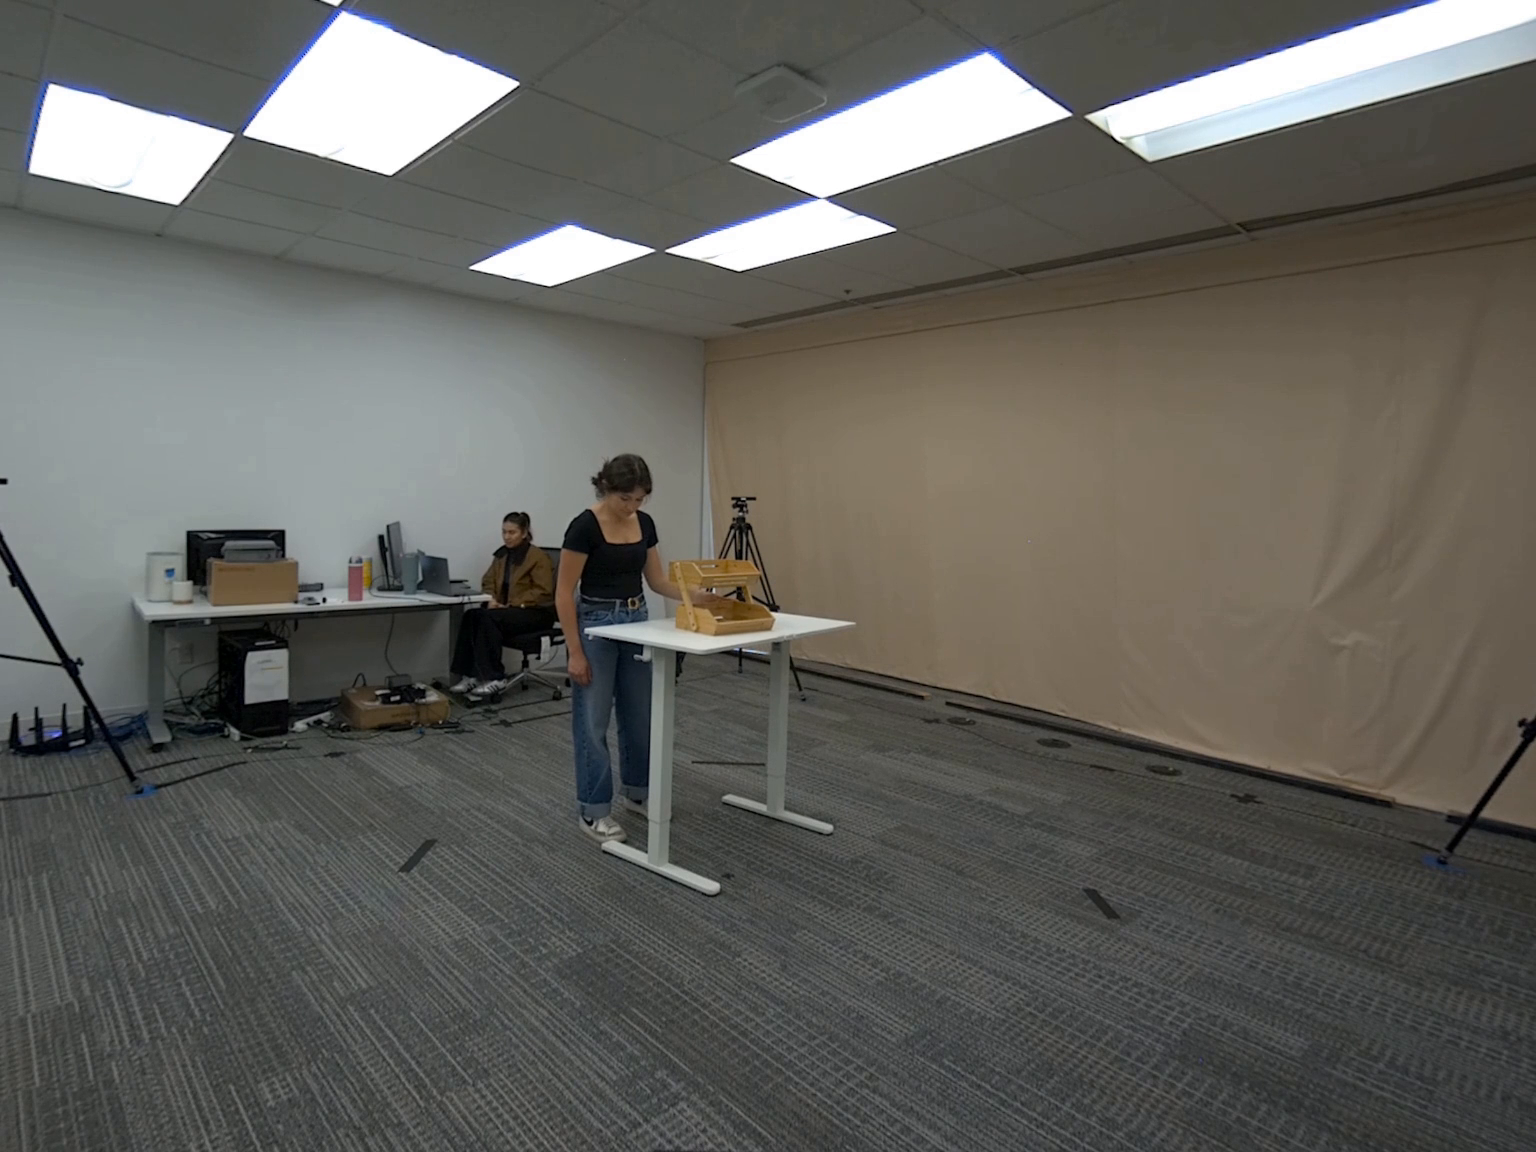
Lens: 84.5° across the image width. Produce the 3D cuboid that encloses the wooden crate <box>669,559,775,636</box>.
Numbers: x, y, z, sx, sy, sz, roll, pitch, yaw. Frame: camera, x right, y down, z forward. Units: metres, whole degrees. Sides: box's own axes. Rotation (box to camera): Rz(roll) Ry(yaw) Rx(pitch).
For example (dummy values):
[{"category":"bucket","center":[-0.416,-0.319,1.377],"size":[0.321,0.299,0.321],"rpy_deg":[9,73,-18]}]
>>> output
[{"category":"wooden crate","center":[-0.190,0.073,3.300],"size":[0.317,0.273,0.310],"rpy_deg":[-1,4,-43]}]
